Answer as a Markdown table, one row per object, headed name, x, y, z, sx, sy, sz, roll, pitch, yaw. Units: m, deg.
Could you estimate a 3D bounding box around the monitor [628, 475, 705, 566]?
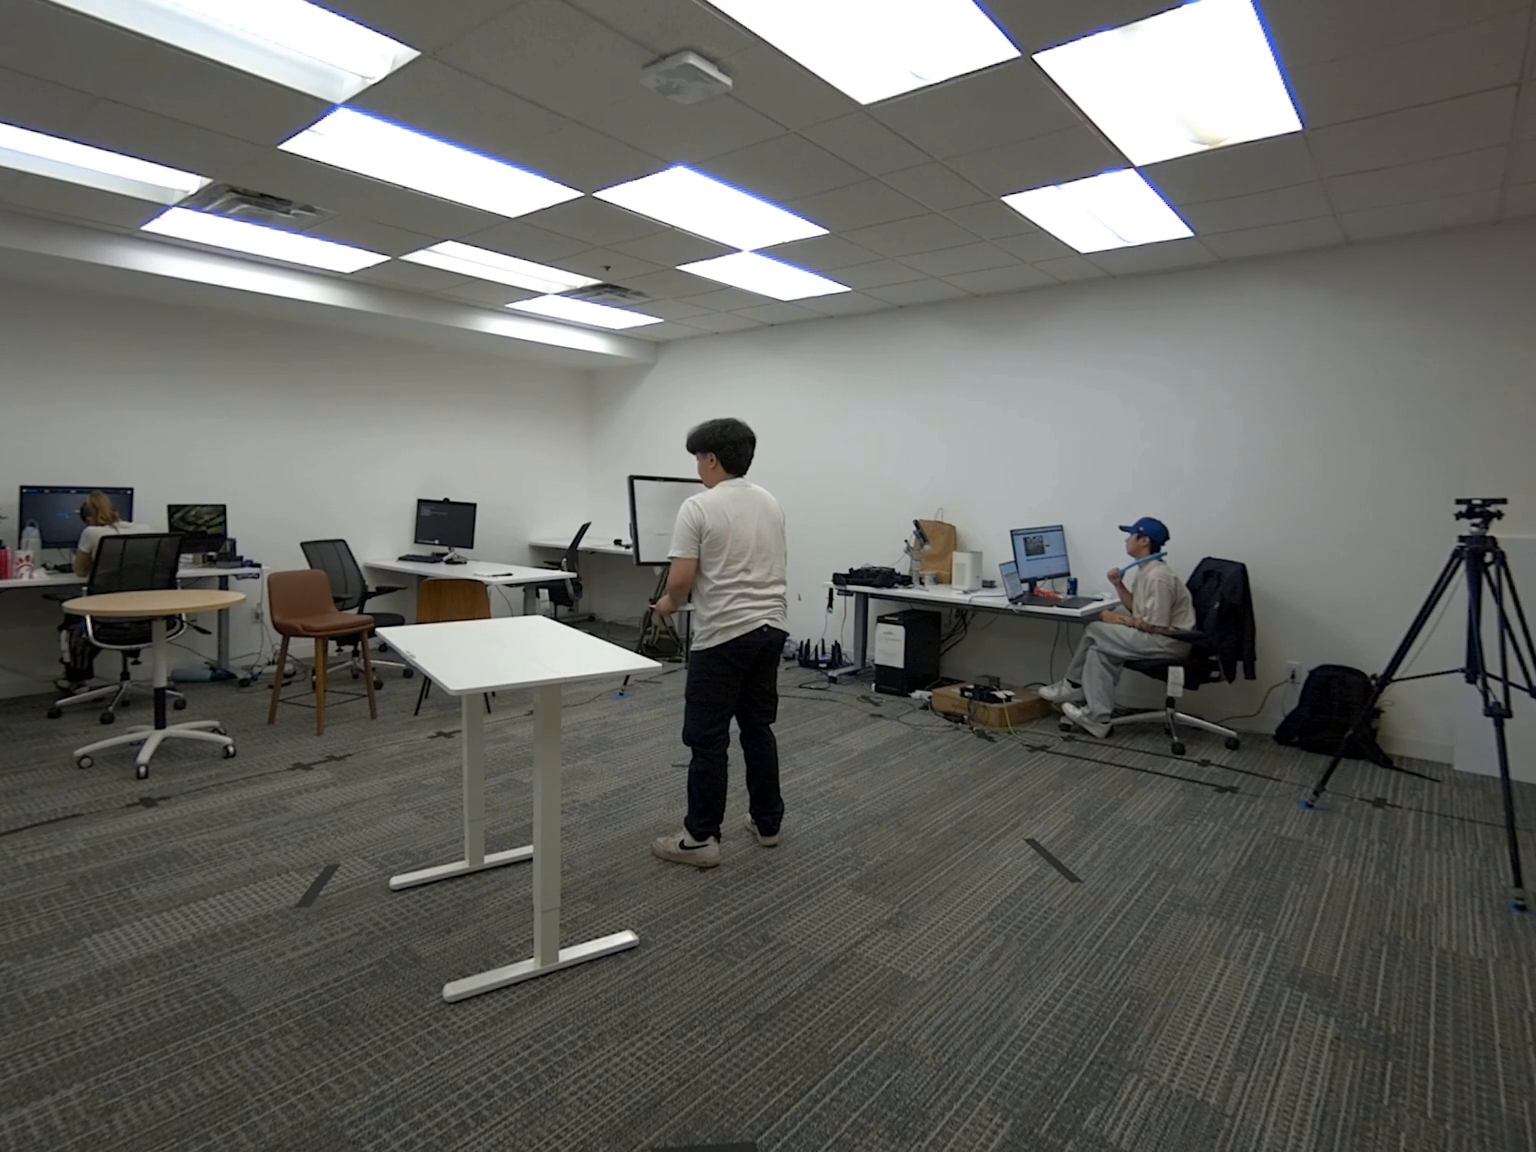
| name | x | y | z | sx | sy | sz | roll | pitch | yaw |
| --- | --- | --- | --- | --- | --- | --- | --- | --- | --- |
| monitor | -0.362 | -0.134 | 3.530 | 0.548 | 0.556 | 0.216 | -1 | -4 | -37 |
